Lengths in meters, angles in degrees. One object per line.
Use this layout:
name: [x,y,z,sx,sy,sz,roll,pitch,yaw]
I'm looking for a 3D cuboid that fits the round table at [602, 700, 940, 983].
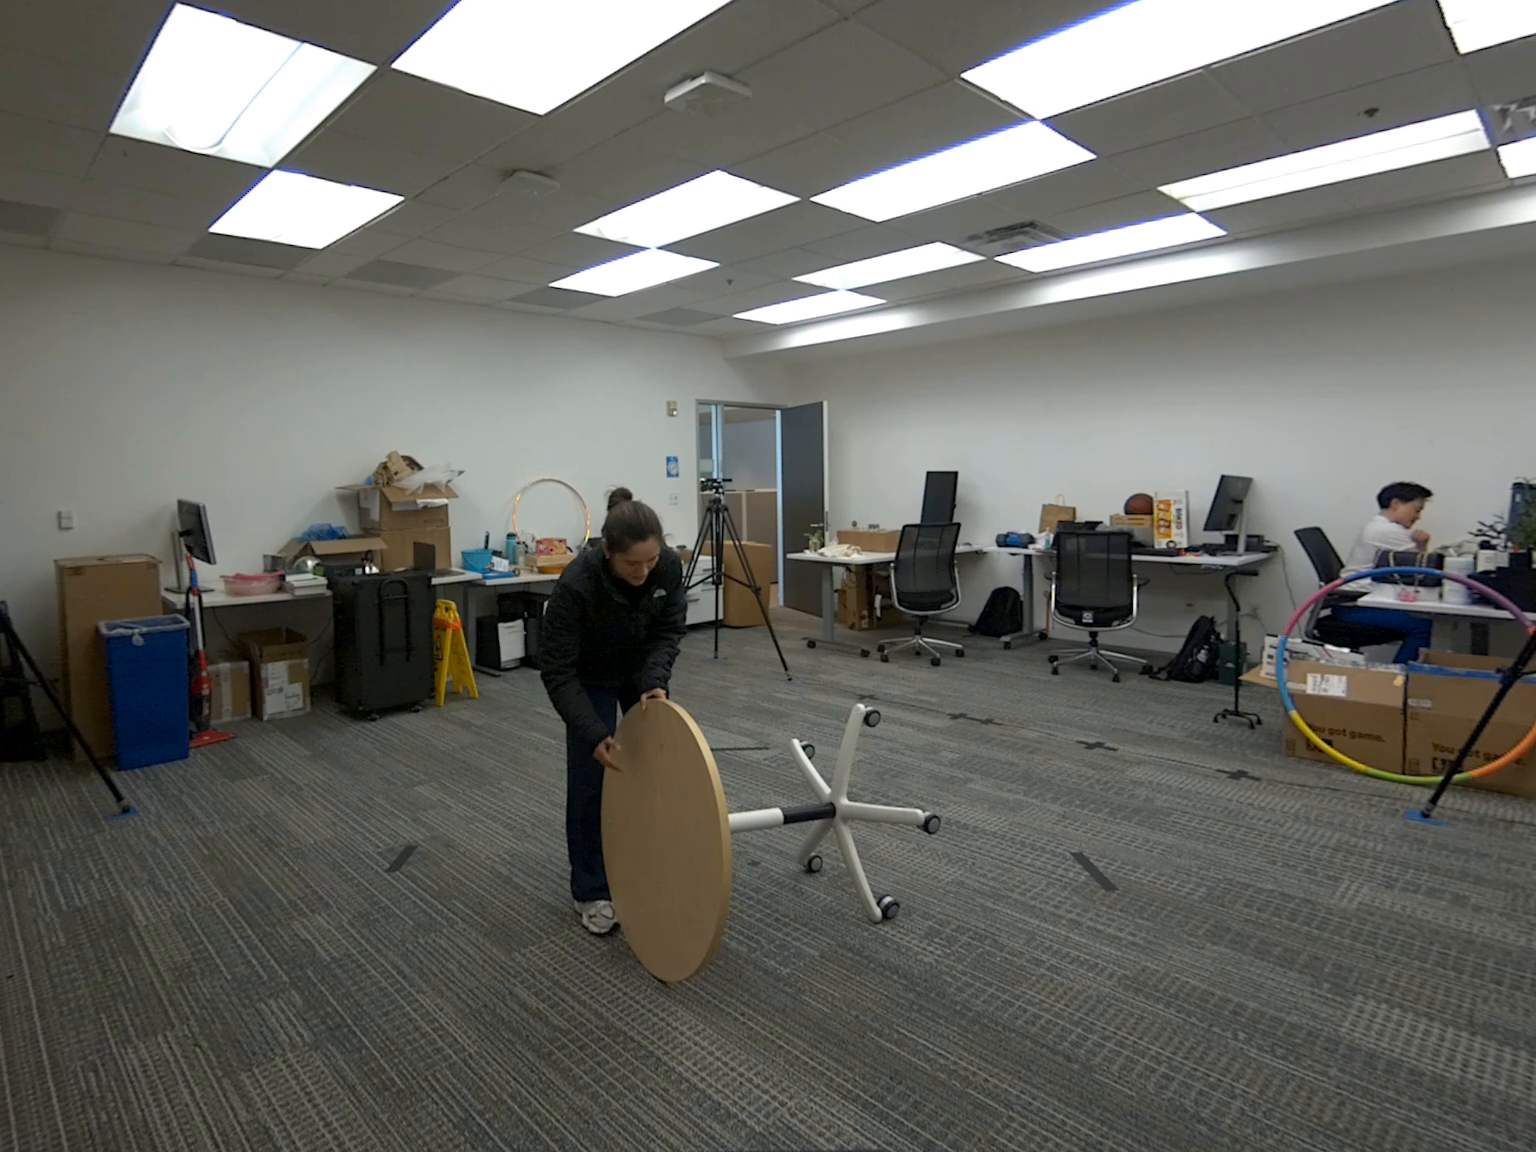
round table: [-0.002,0.757,2.671,0.764,0.785,0.808,4,1,-34]
